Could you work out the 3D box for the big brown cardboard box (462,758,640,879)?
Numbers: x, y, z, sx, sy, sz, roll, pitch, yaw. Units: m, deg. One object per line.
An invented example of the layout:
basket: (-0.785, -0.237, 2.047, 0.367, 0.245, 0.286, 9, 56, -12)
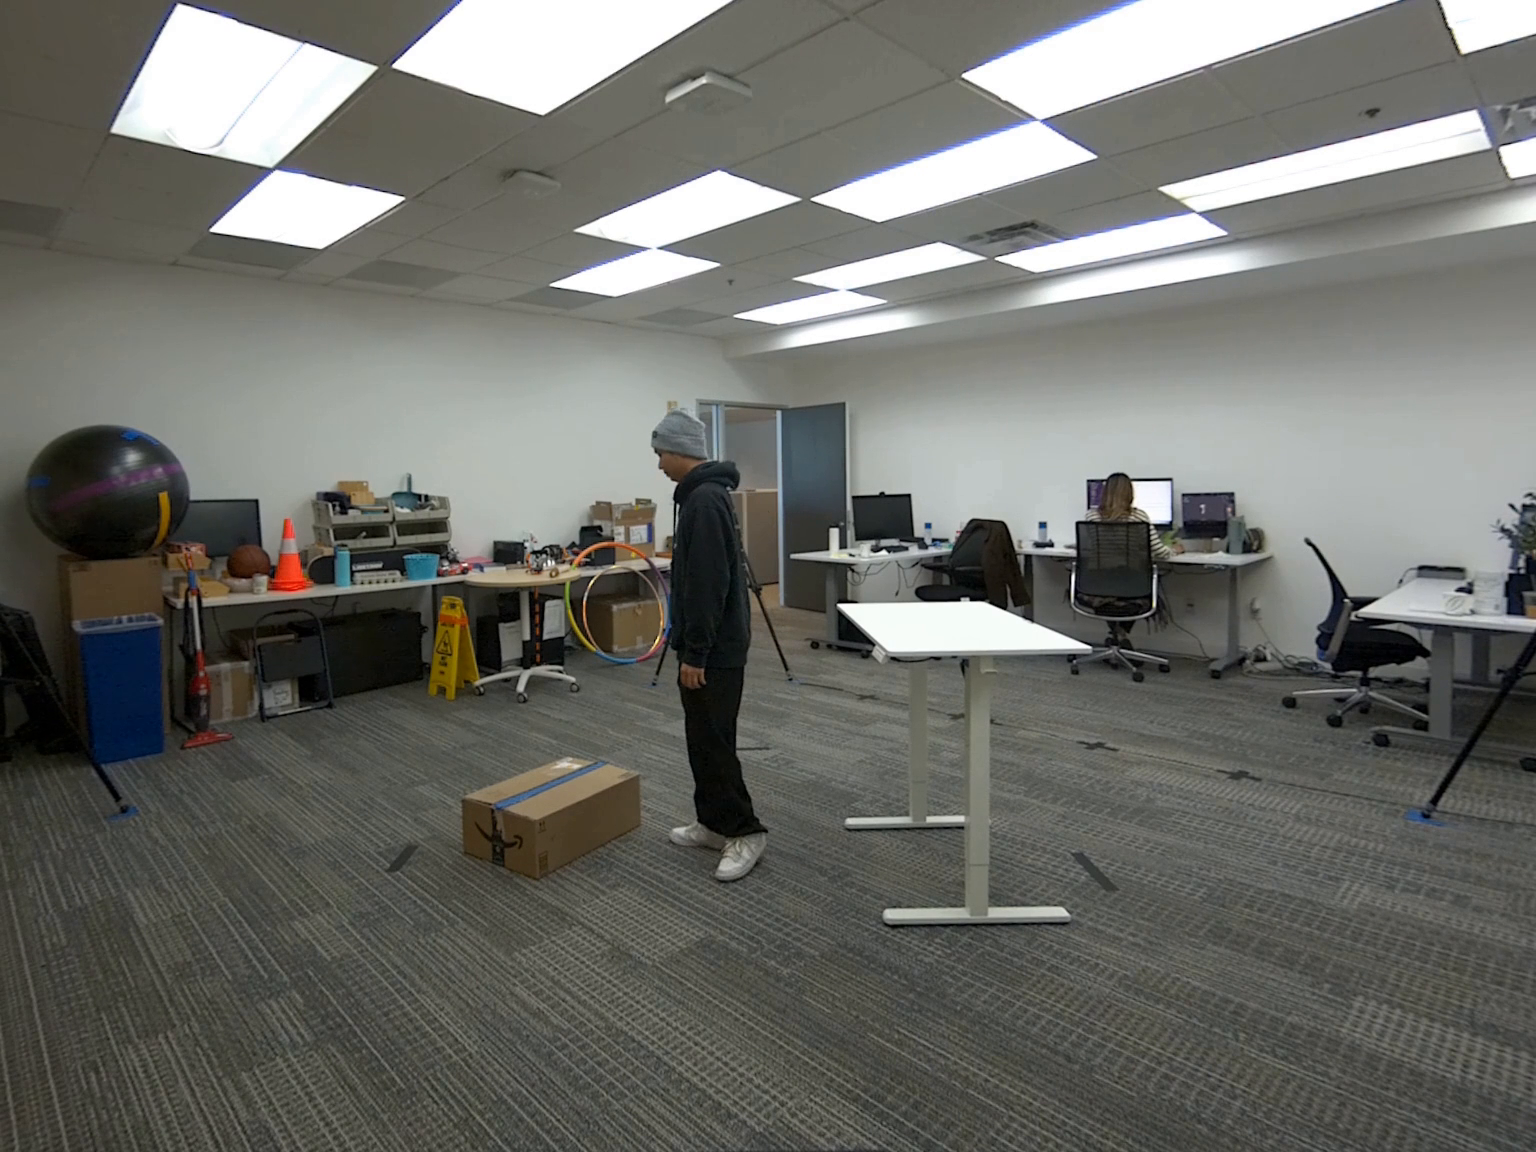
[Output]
big brown cardboard box: (-0.835, 0.921, 3.354, 0.429, 0.232, 0.576, 2, 8, 33)
